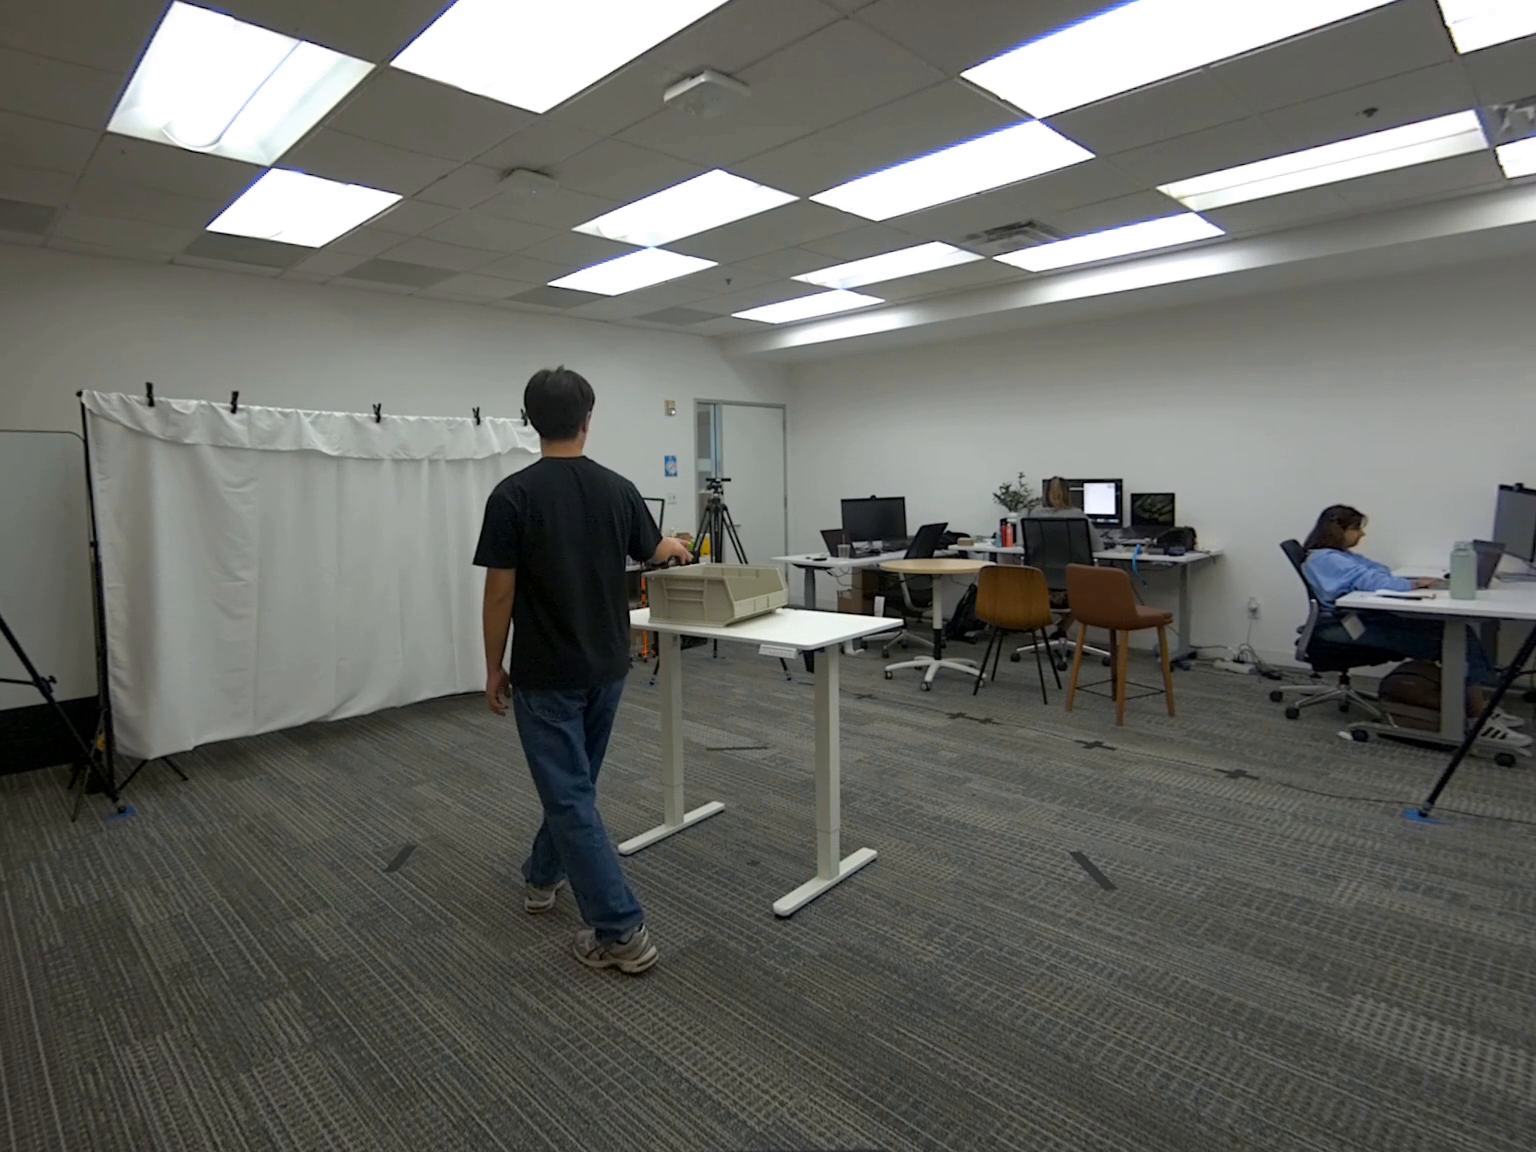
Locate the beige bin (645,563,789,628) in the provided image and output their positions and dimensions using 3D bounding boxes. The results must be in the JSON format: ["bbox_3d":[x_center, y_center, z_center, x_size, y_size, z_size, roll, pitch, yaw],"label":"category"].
[{"bbox_3d":[-0.182,0.069,3.165,0.387,0.188,0.413,1,6,29],"label":"beige bin"}]
